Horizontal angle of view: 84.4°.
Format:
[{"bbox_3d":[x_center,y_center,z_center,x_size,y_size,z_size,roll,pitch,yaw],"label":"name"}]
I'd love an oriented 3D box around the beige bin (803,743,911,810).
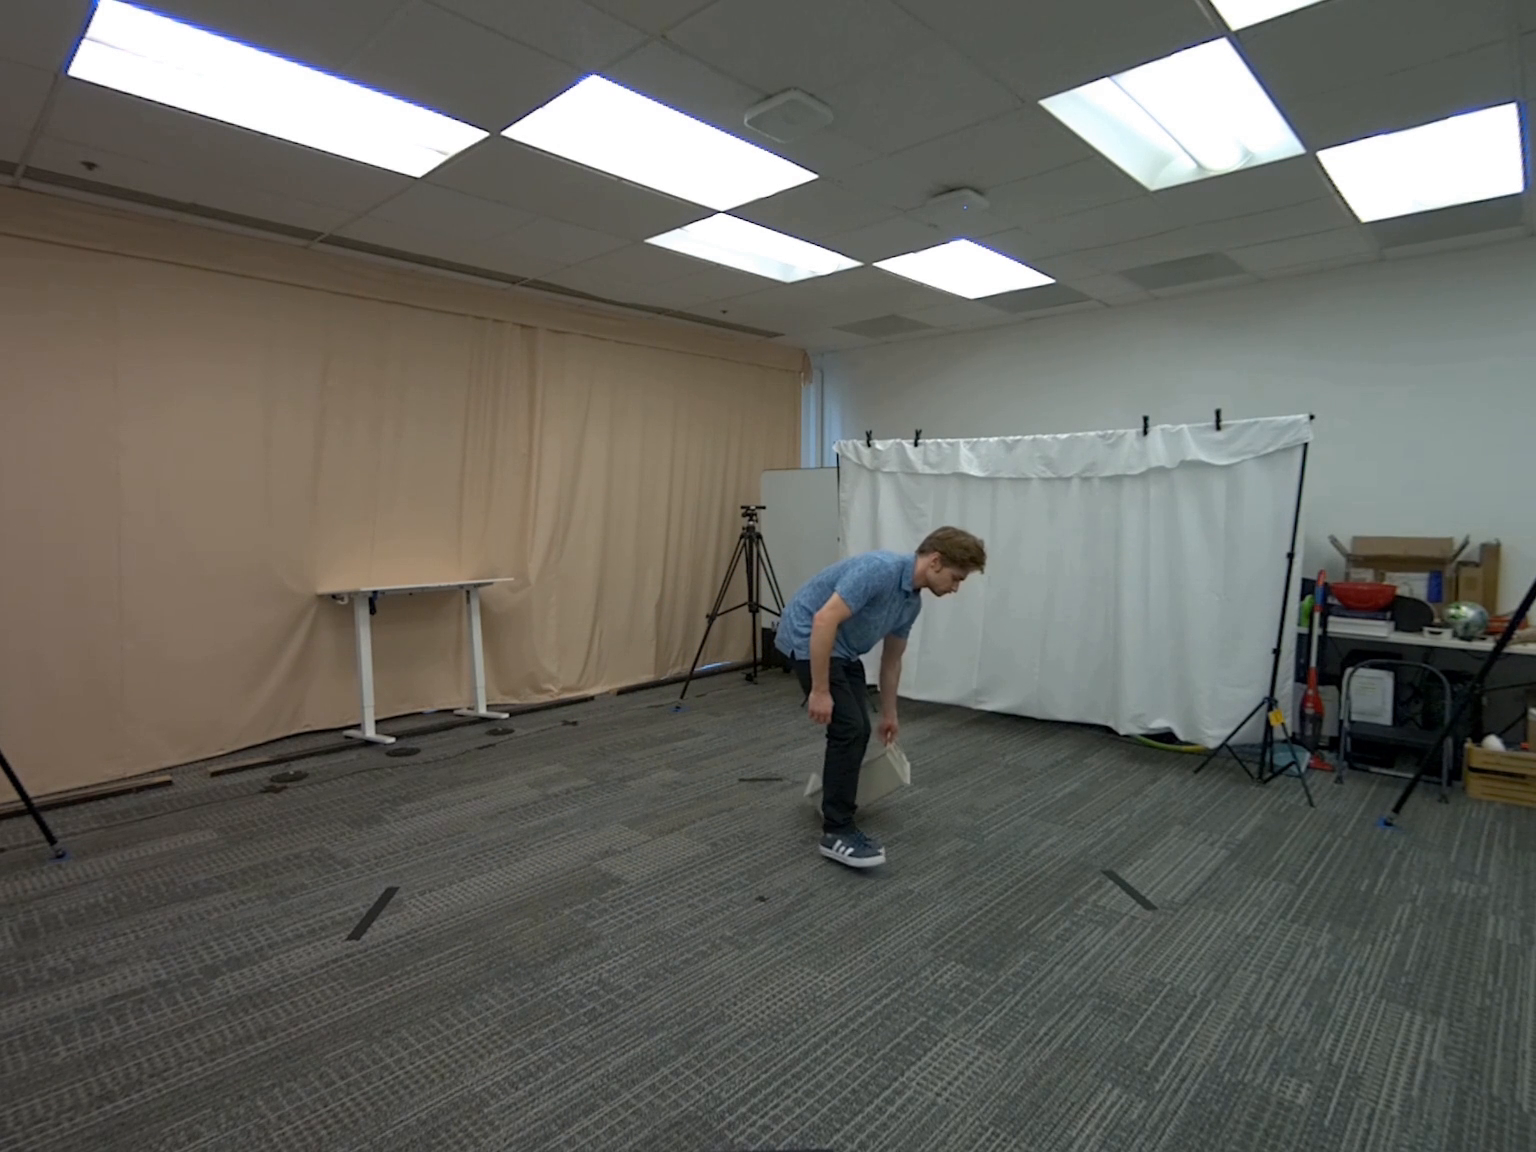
[{"bbox_3d":[0.406,0.894,3.745,0.425,0.189,0.374,-31,0,11],"label":"beige bin"}]
